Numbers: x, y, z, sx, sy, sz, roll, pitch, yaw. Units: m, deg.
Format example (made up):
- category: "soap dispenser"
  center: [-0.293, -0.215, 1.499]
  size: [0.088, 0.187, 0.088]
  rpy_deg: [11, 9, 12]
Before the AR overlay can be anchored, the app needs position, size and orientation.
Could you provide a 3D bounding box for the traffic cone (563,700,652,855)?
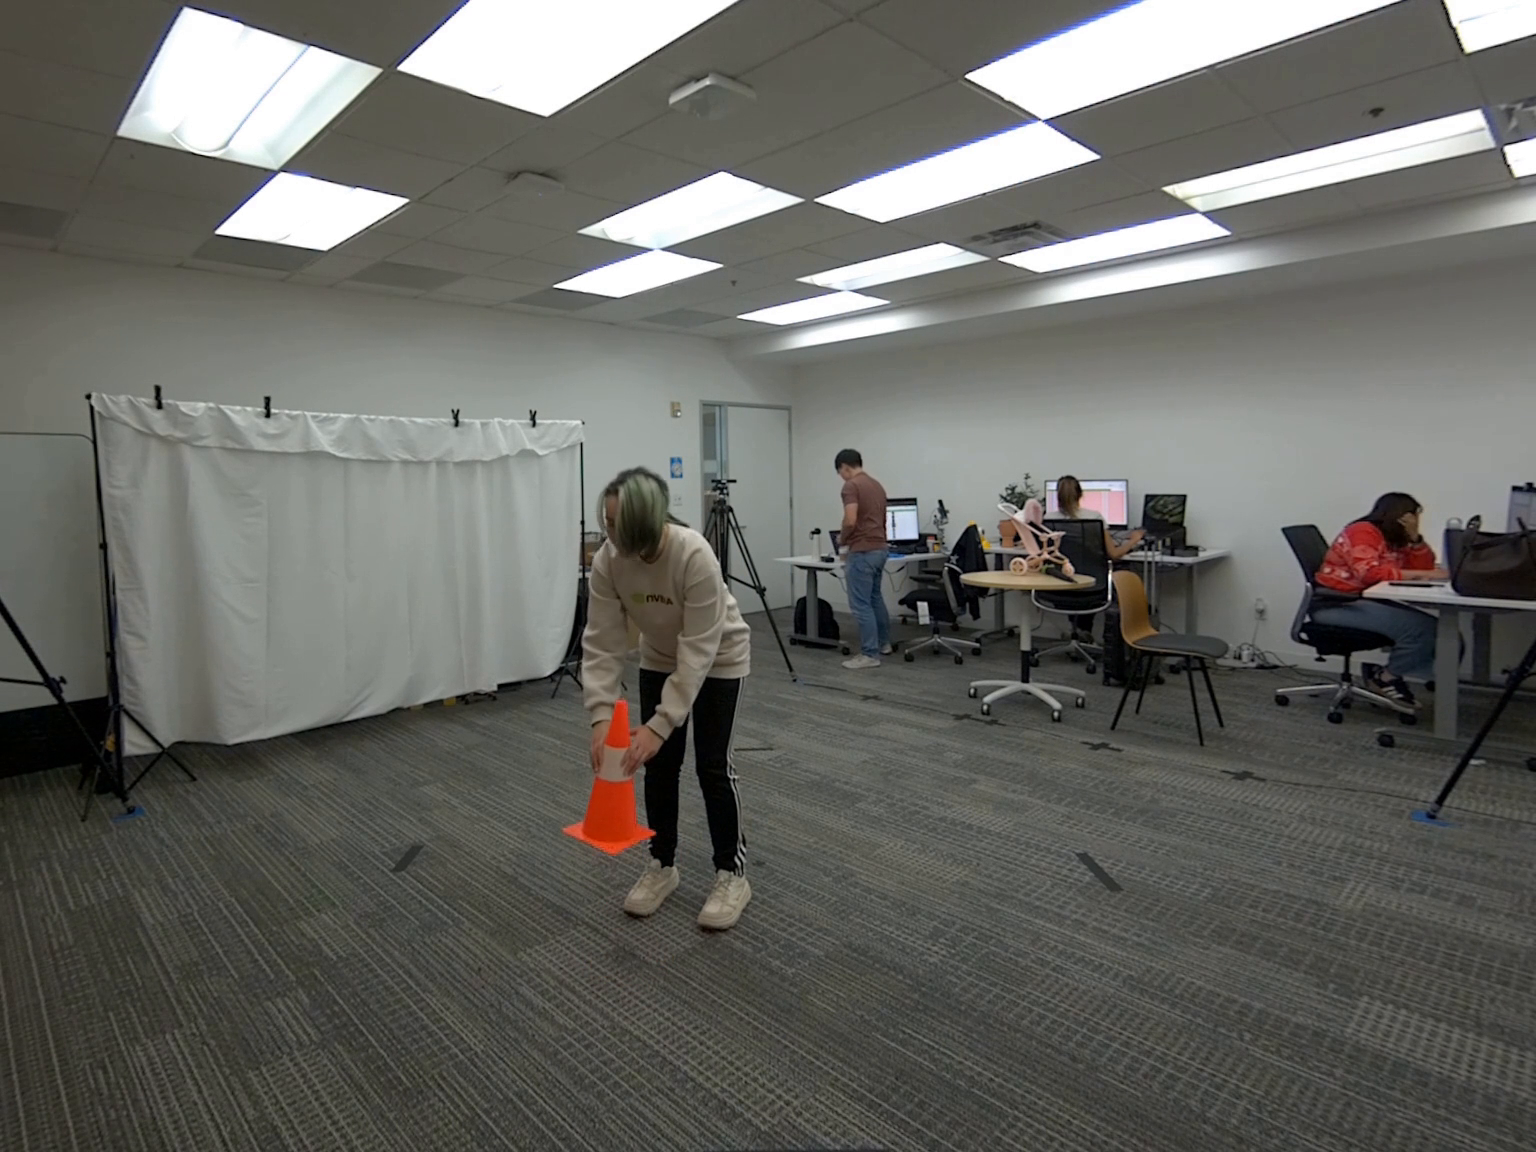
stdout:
- category: "traffic cone"
  center: [-0.428, 0.546, 2.427]
  size: [0.211, 0.383, 0.198]
  rpy_deg: [7, 4, 35]
